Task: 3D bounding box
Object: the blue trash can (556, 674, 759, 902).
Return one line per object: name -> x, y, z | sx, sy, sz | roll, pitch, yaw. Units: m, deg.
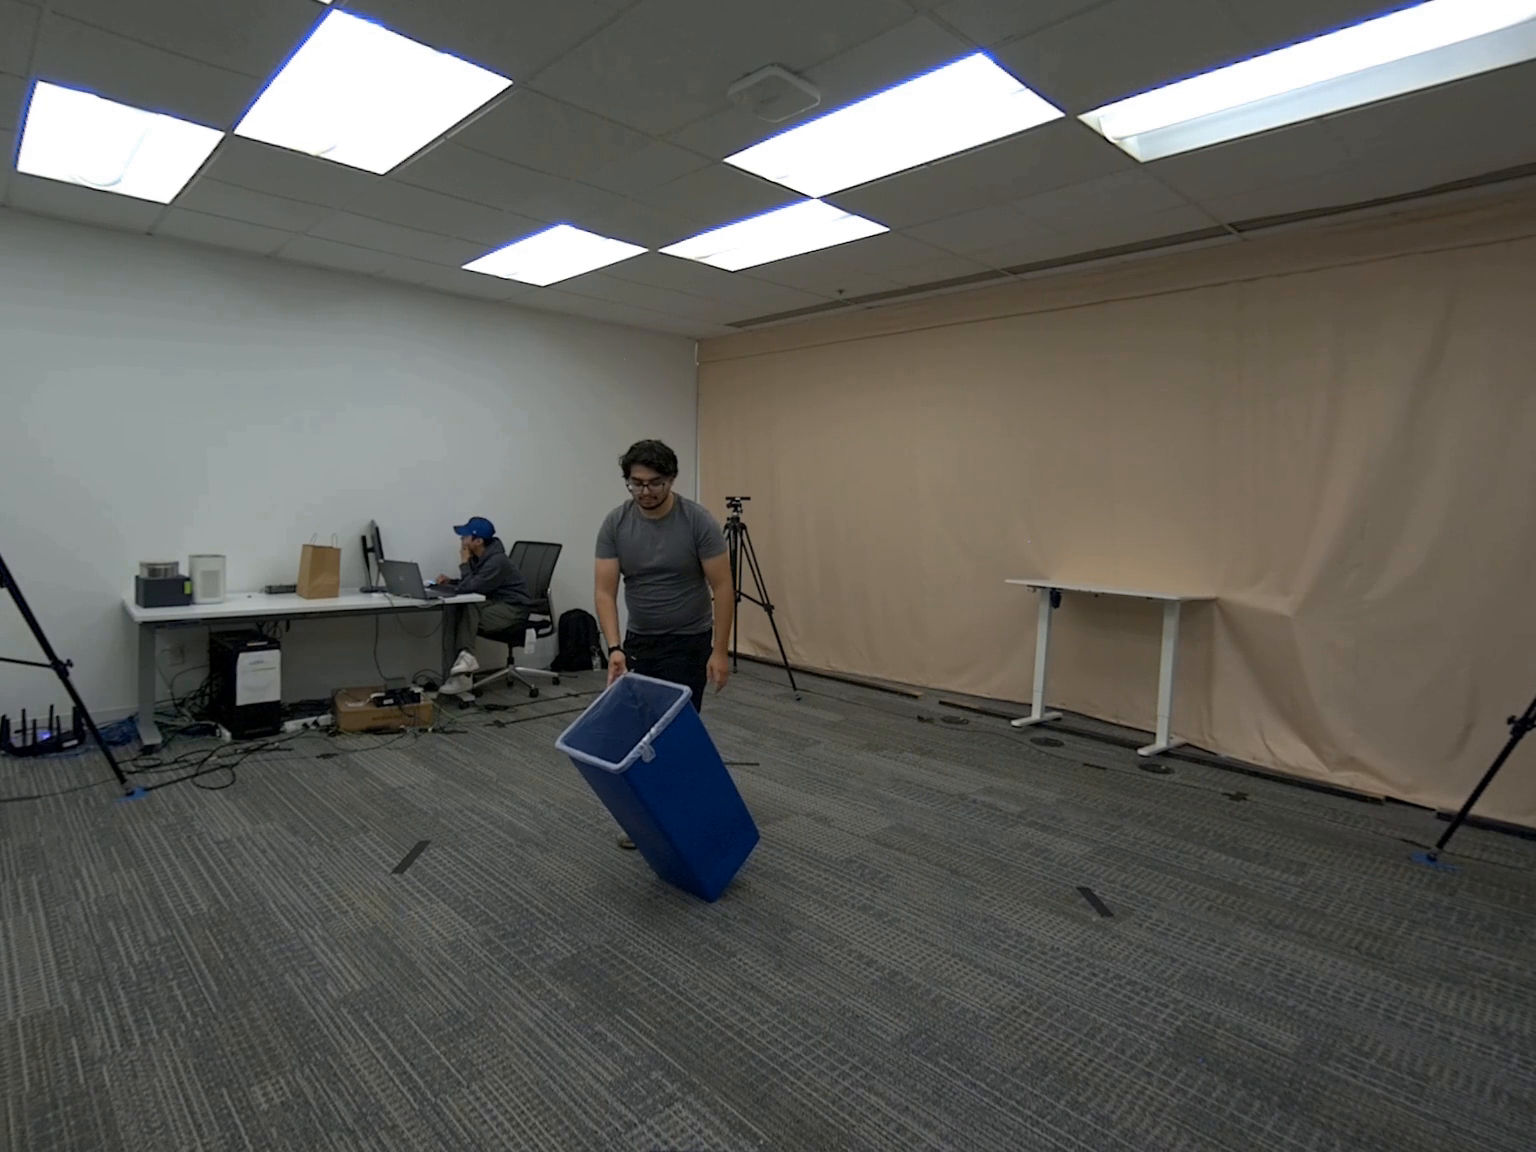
blue trash can -> -0.360, 0.738, 2.917 | 0.387, 0.696, 0.374 | 3, 39, 44
